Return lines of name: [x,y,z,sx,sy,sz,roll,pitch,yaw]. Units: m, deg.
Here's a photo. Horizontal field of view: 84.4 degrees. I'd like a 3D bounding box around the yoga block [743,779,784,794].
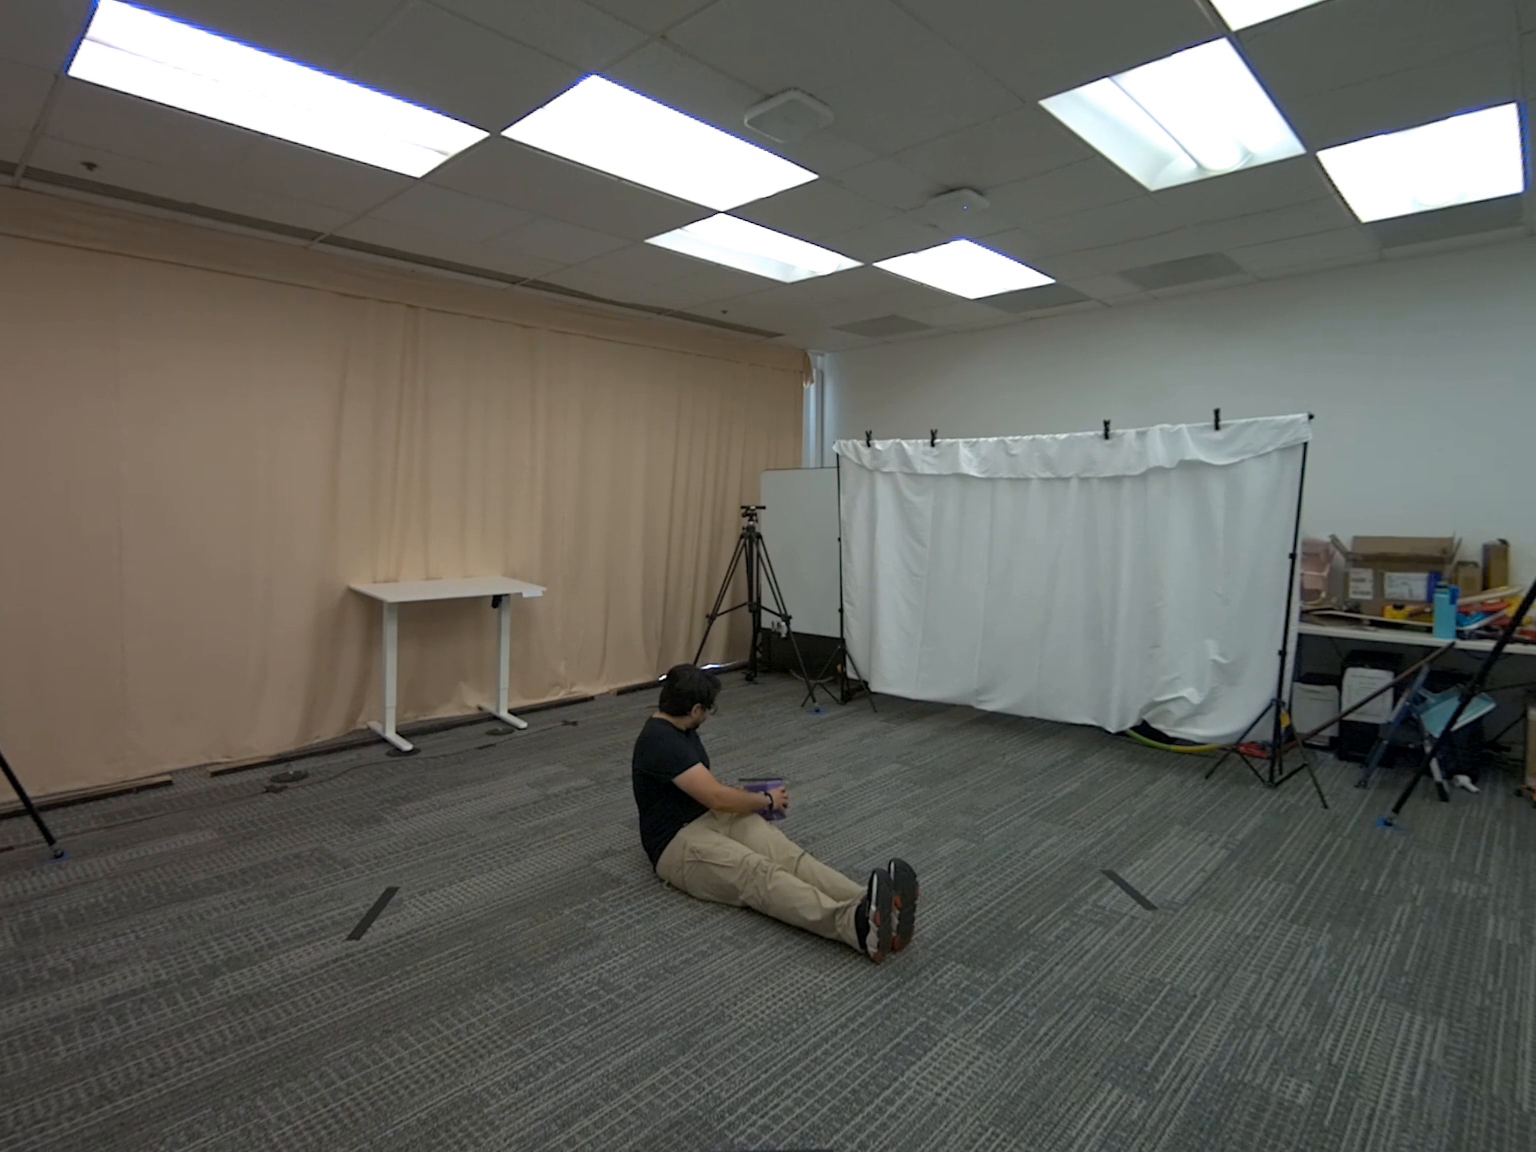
yoga block: [-0.020,0.917,3.403,0.075,0.150,0.231,1,-12,-16]
